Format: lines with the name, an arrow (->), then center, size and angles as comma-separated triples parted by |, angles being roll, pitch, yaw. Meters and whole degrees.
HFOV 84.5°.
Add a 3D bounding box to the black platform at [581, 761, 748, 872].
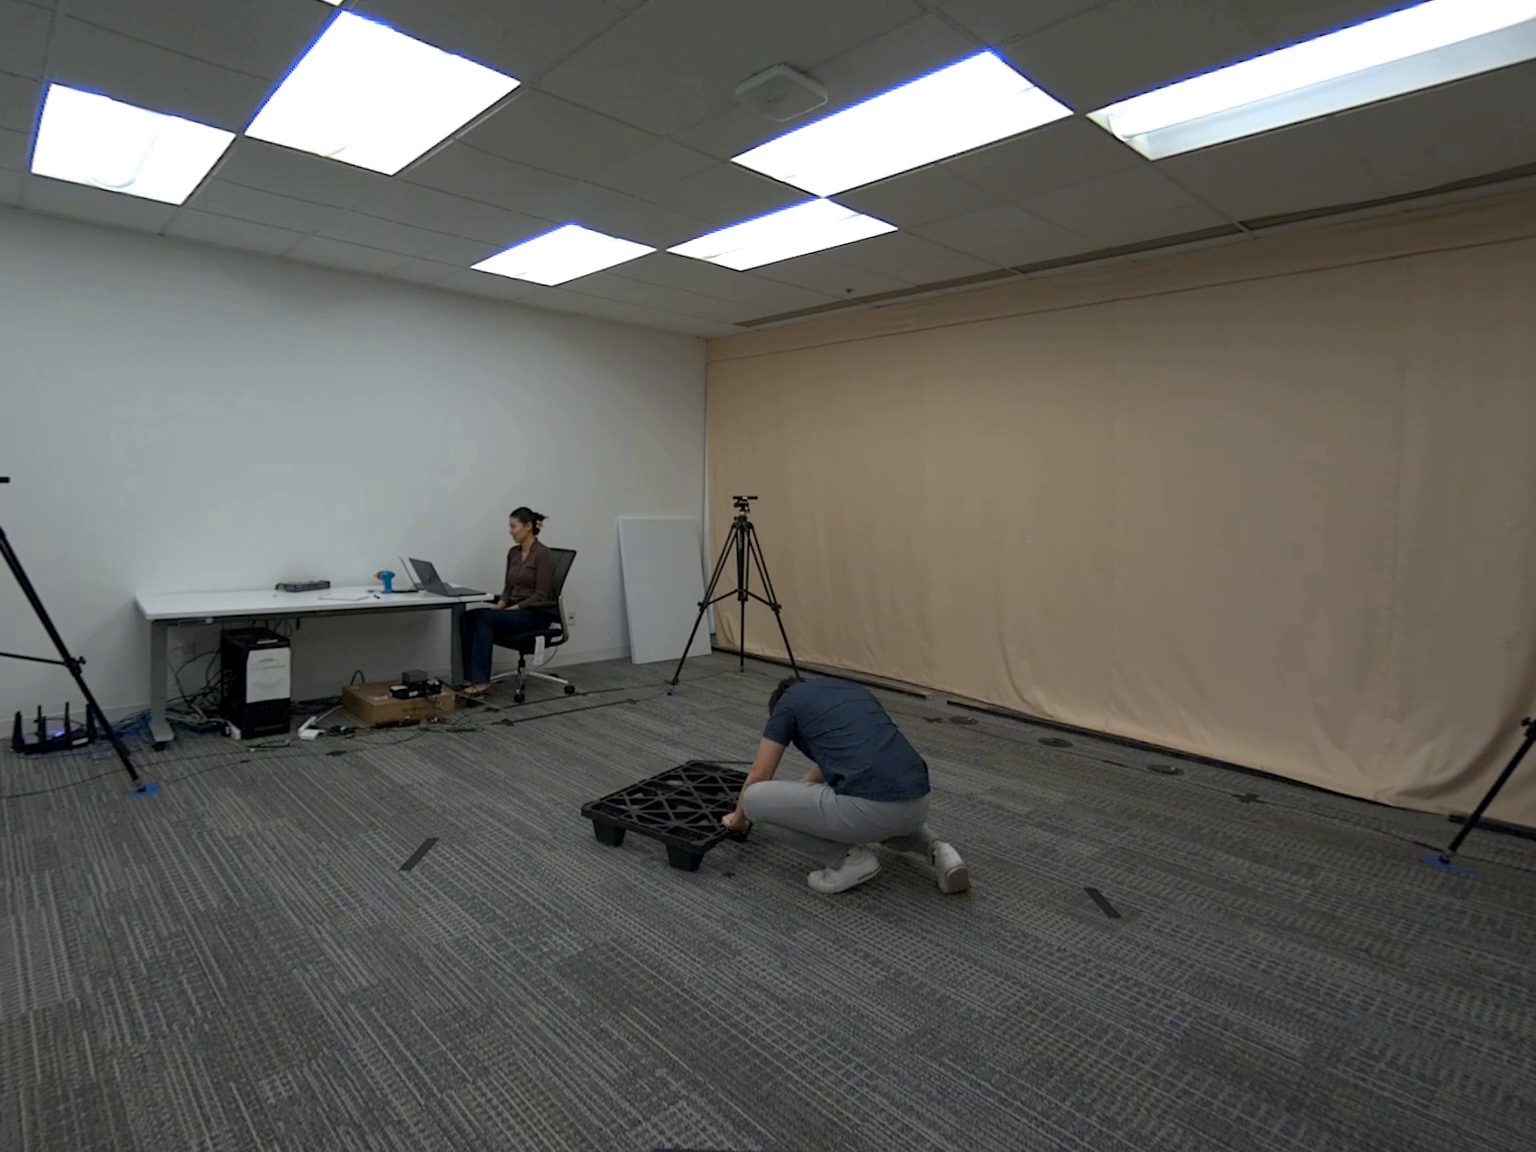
black platform -> -0.312, 0.991, 3.545 | 0.619, 0.143, 0.789 | 5, 6, 31
